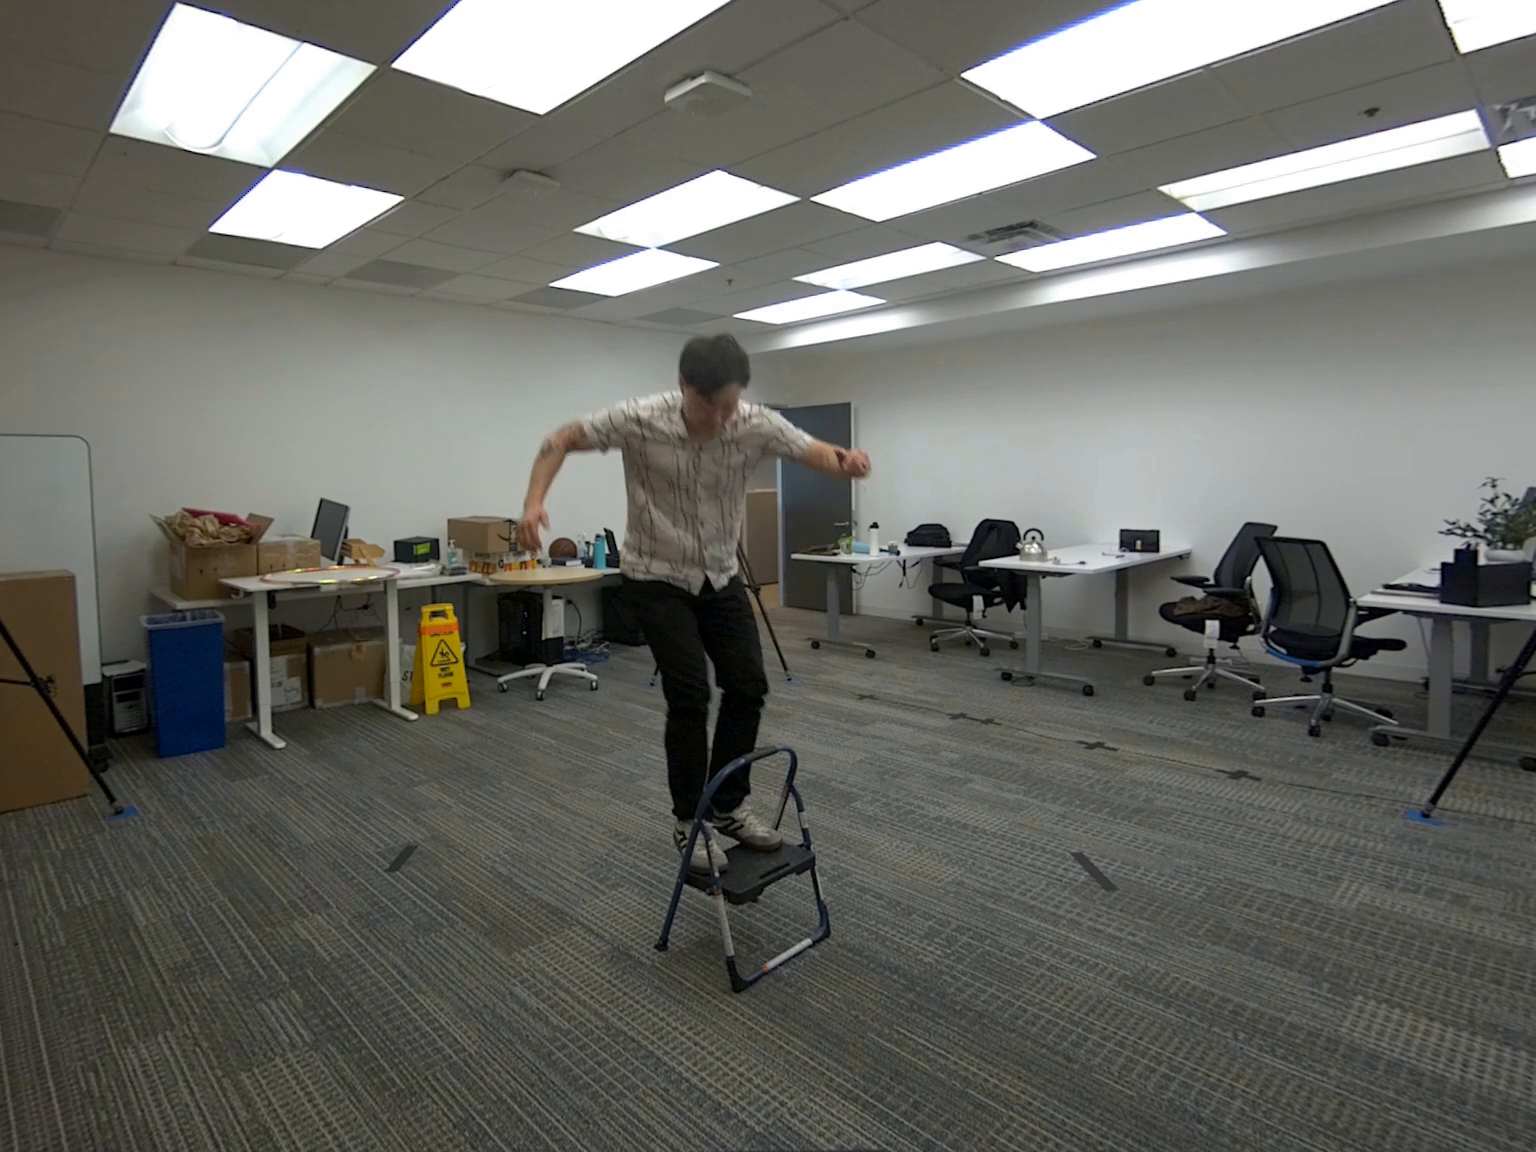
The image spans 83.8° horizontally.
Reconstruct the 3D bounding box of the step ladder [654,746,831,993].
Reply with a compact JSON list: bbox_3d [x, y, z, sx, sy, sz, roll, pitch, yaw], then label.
[{"bbox_3d":[-0.072,0.804,2.565,0.360,0.603,0.419,4,7,43],"label":"step ladder"}]
